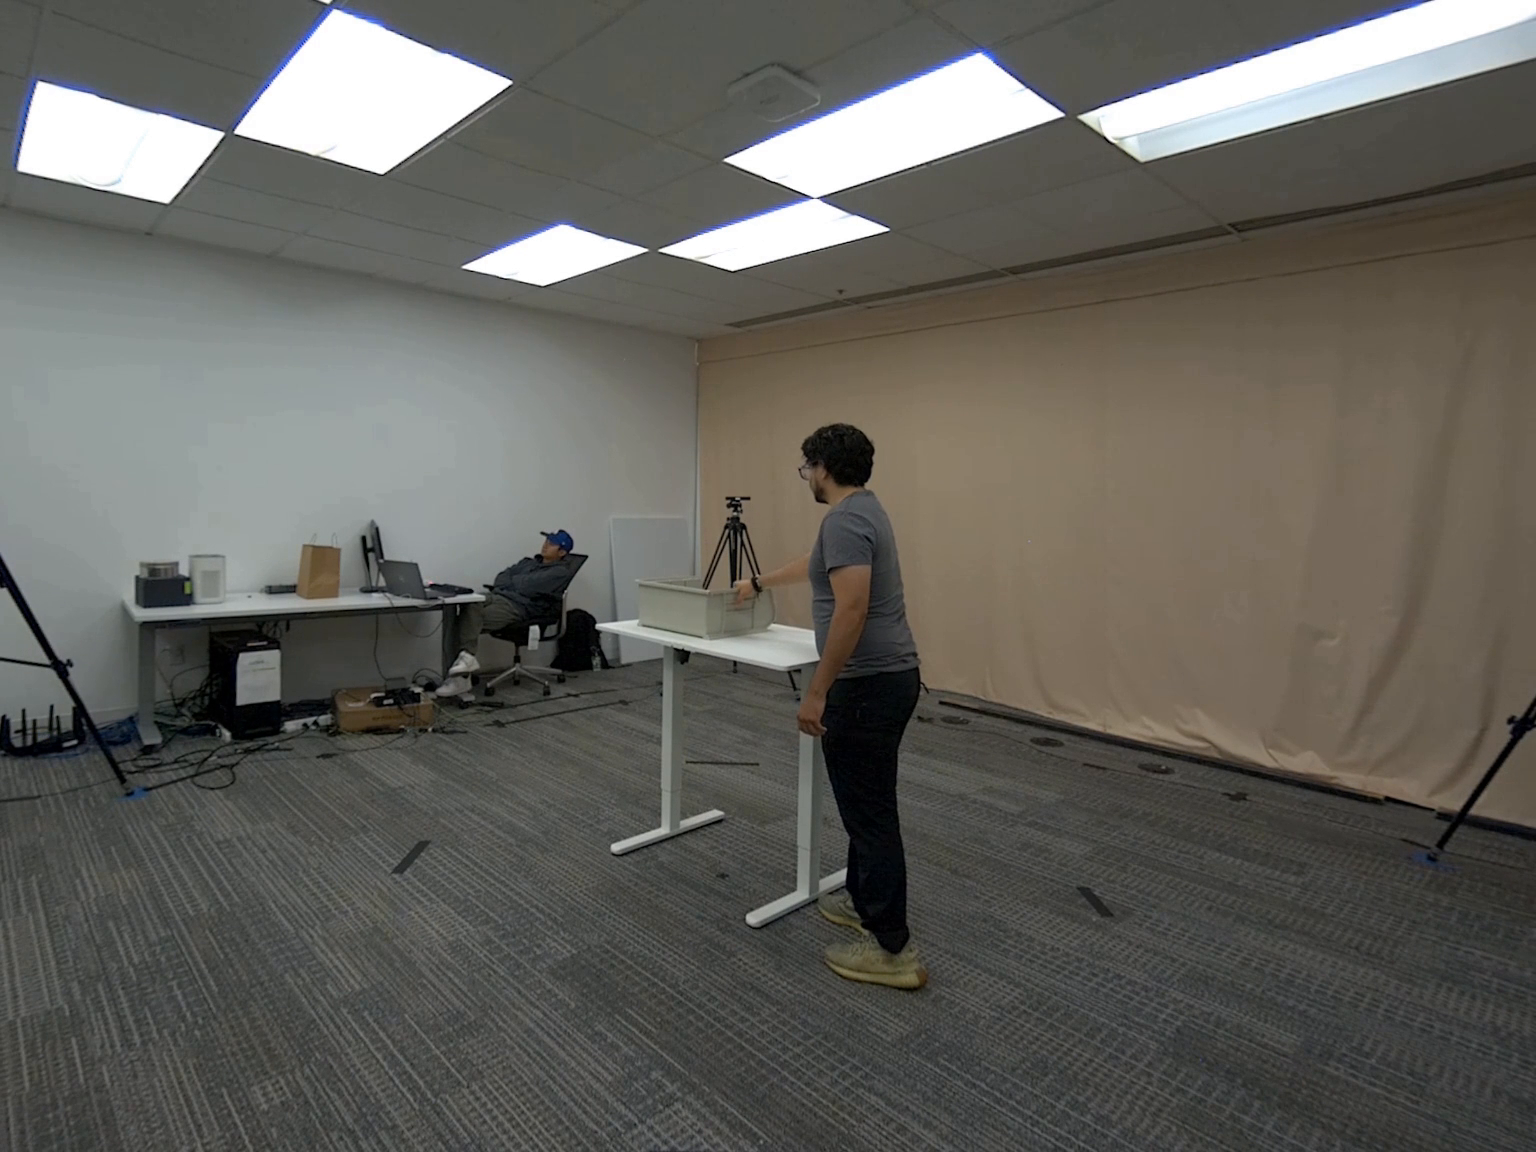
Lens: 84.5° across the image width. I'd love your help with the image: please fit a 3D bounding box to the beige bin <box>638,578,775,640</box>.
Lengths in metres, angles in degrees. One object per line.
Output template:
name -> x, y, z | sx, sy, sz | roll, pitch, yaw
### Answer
beige bin -> -0.248, 0.115, 3.276 | 0.433, 0.188, 0.369 | 7, 9, 44
